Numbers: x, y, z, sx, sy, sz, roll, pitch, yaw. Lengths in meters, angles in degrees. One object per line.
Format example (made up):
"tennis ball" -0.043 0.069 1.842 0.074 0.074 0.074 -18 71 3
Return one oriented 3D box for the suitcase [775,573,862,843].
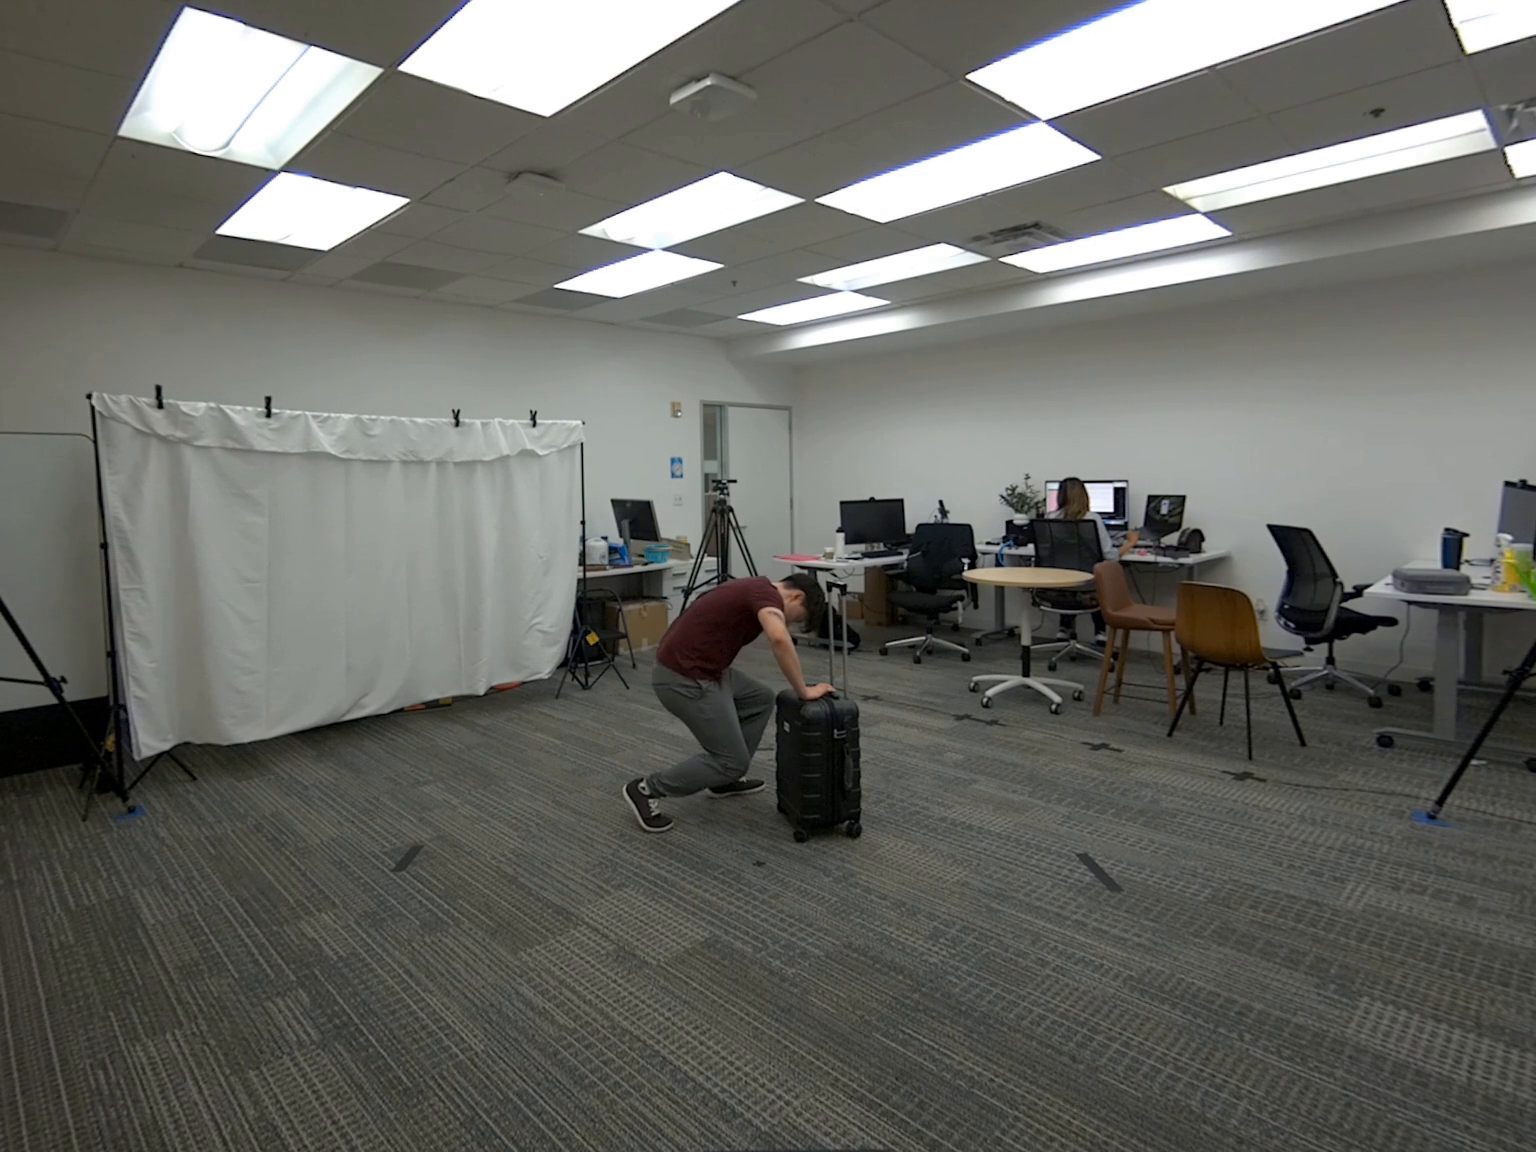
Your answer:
"suitcase" 0.195 0.534 3.429 0.253 0.976 0.390 -3 3 -16
